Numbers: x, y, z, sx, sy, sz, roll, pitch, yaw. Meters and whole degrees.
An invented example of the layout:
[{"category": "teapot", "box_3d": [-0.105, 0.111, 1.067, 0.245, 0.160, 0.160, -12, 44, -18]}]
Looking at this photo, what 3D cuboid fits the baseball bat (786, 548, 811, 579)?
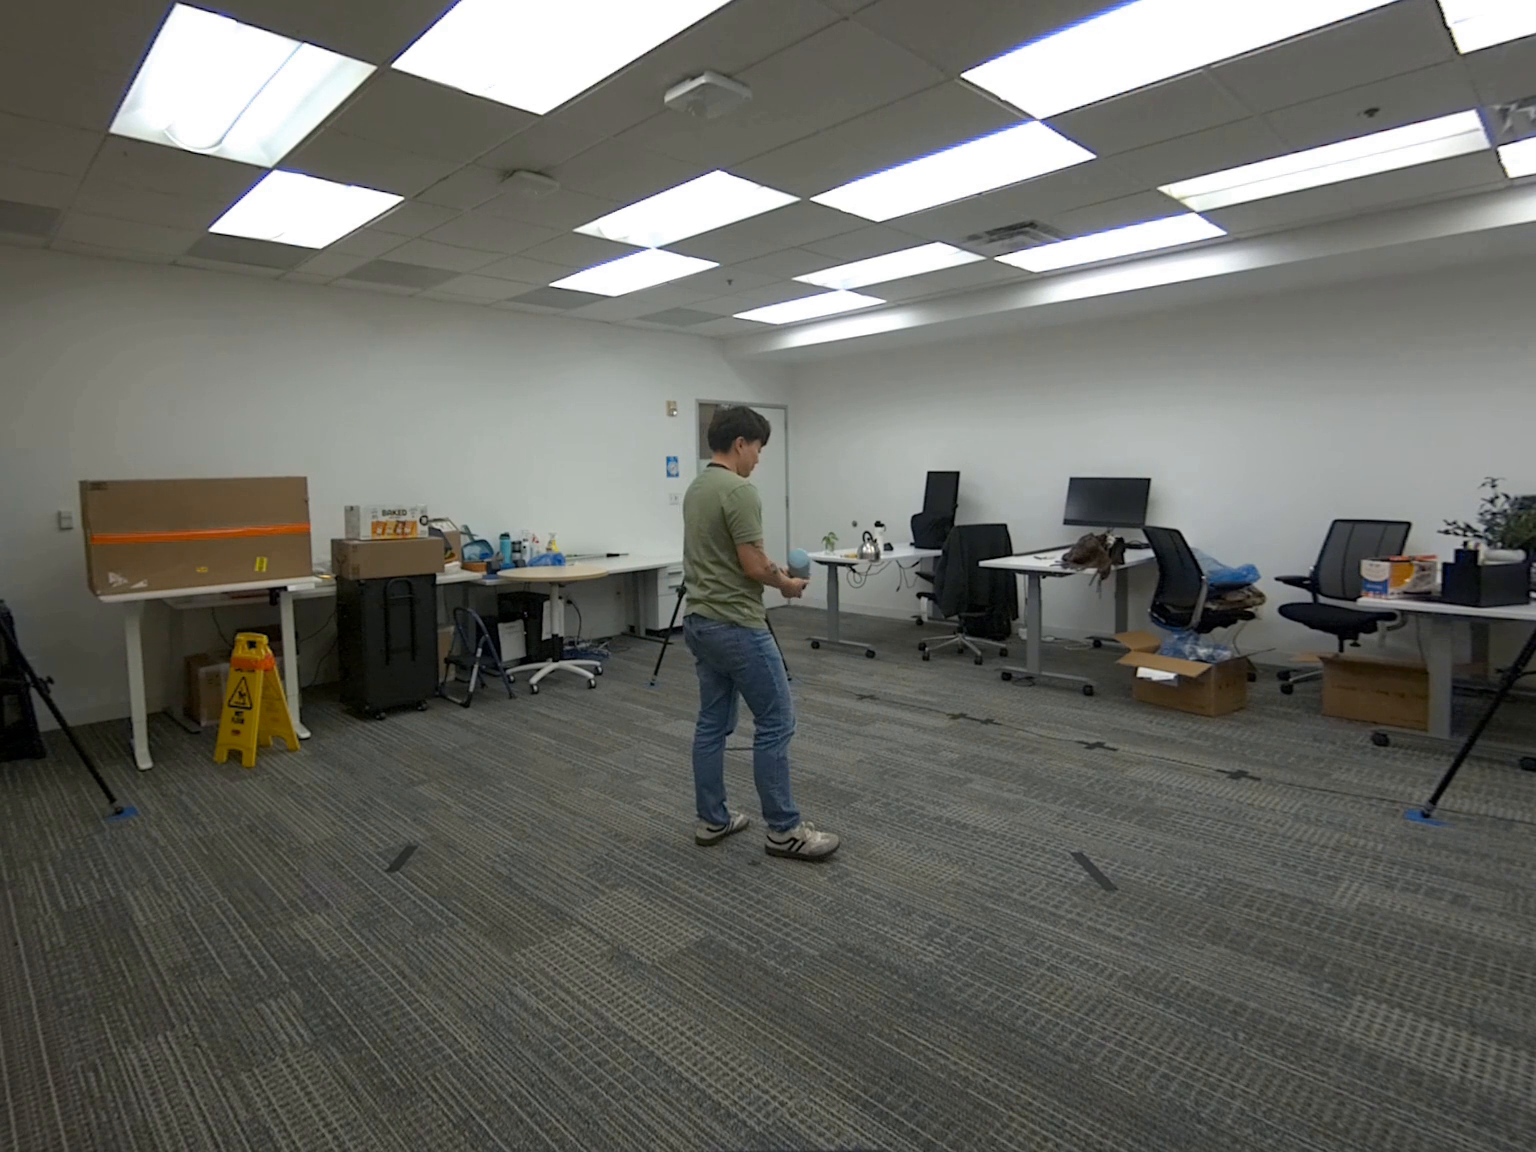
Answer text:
[{"category": "baseball bat", "box_3d": [0.133, -0.012, 3.561, 0.089, 0.090, 0.533, 0, -12, 5]}]
